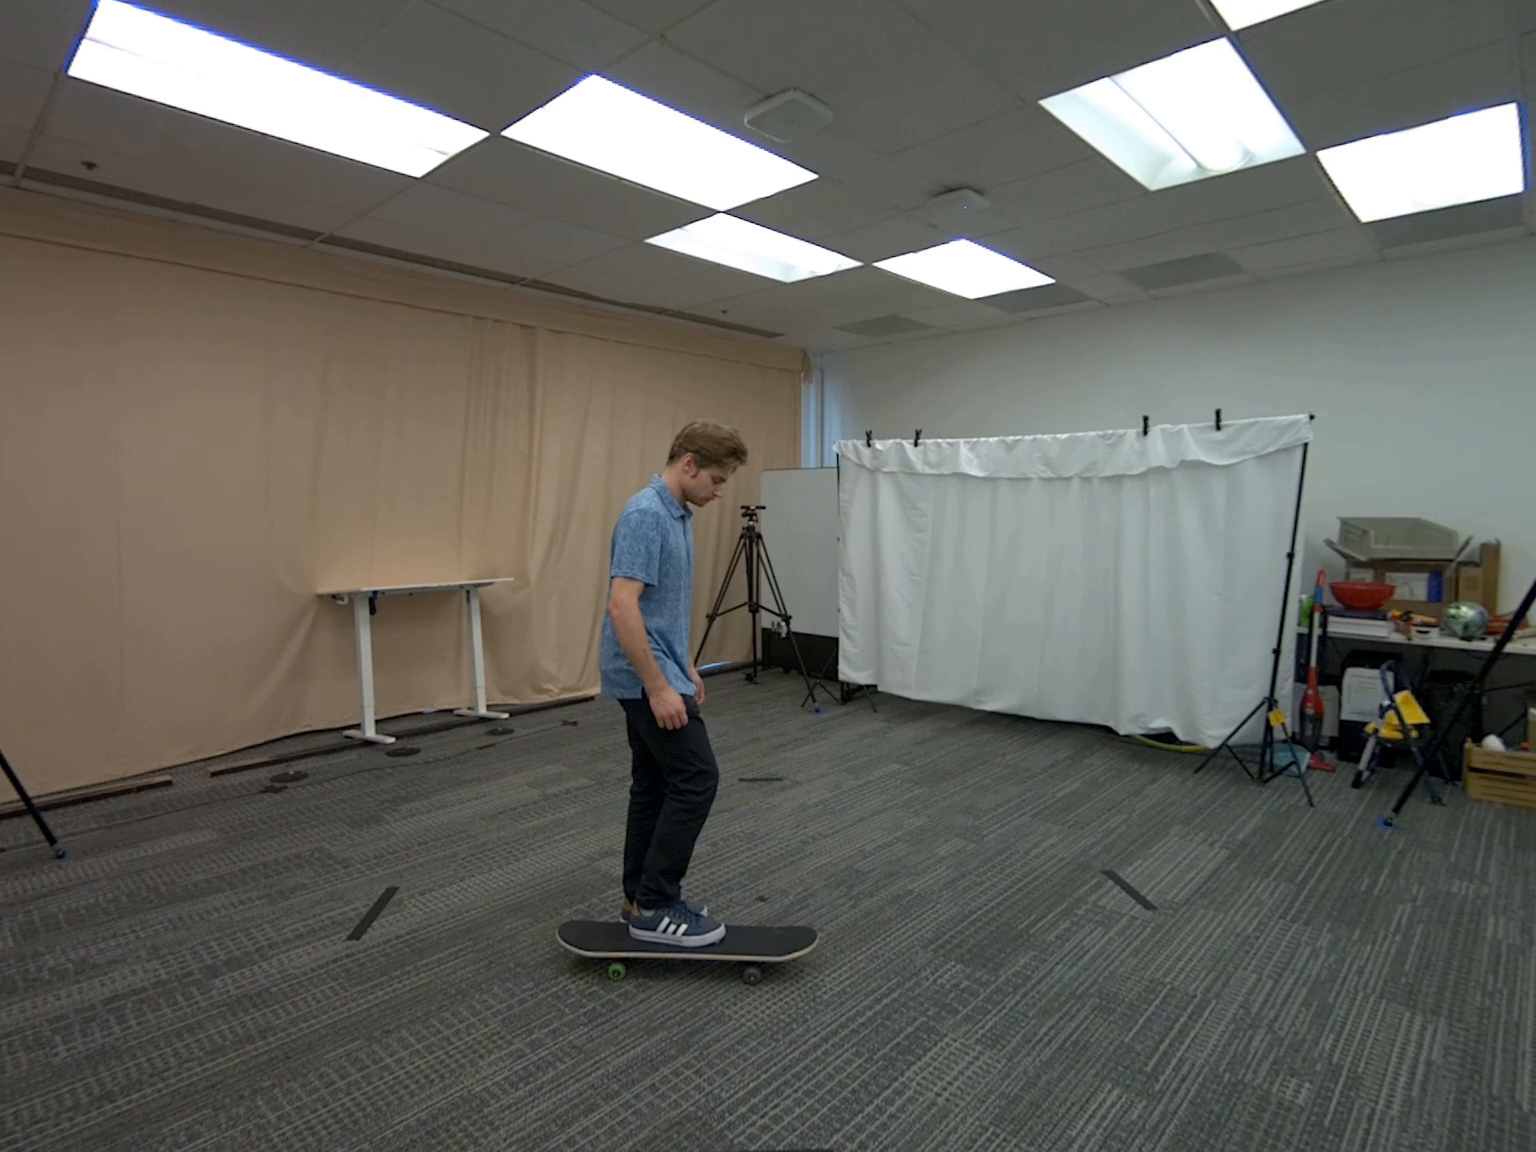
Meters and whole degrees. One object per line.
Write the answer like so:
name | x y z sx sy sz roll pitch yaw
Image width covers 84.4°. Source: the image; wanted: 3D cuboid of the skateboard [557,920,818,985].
skateboard | -0.241 1.120 2.546 0.789 0.110 0.193 0 2 4
